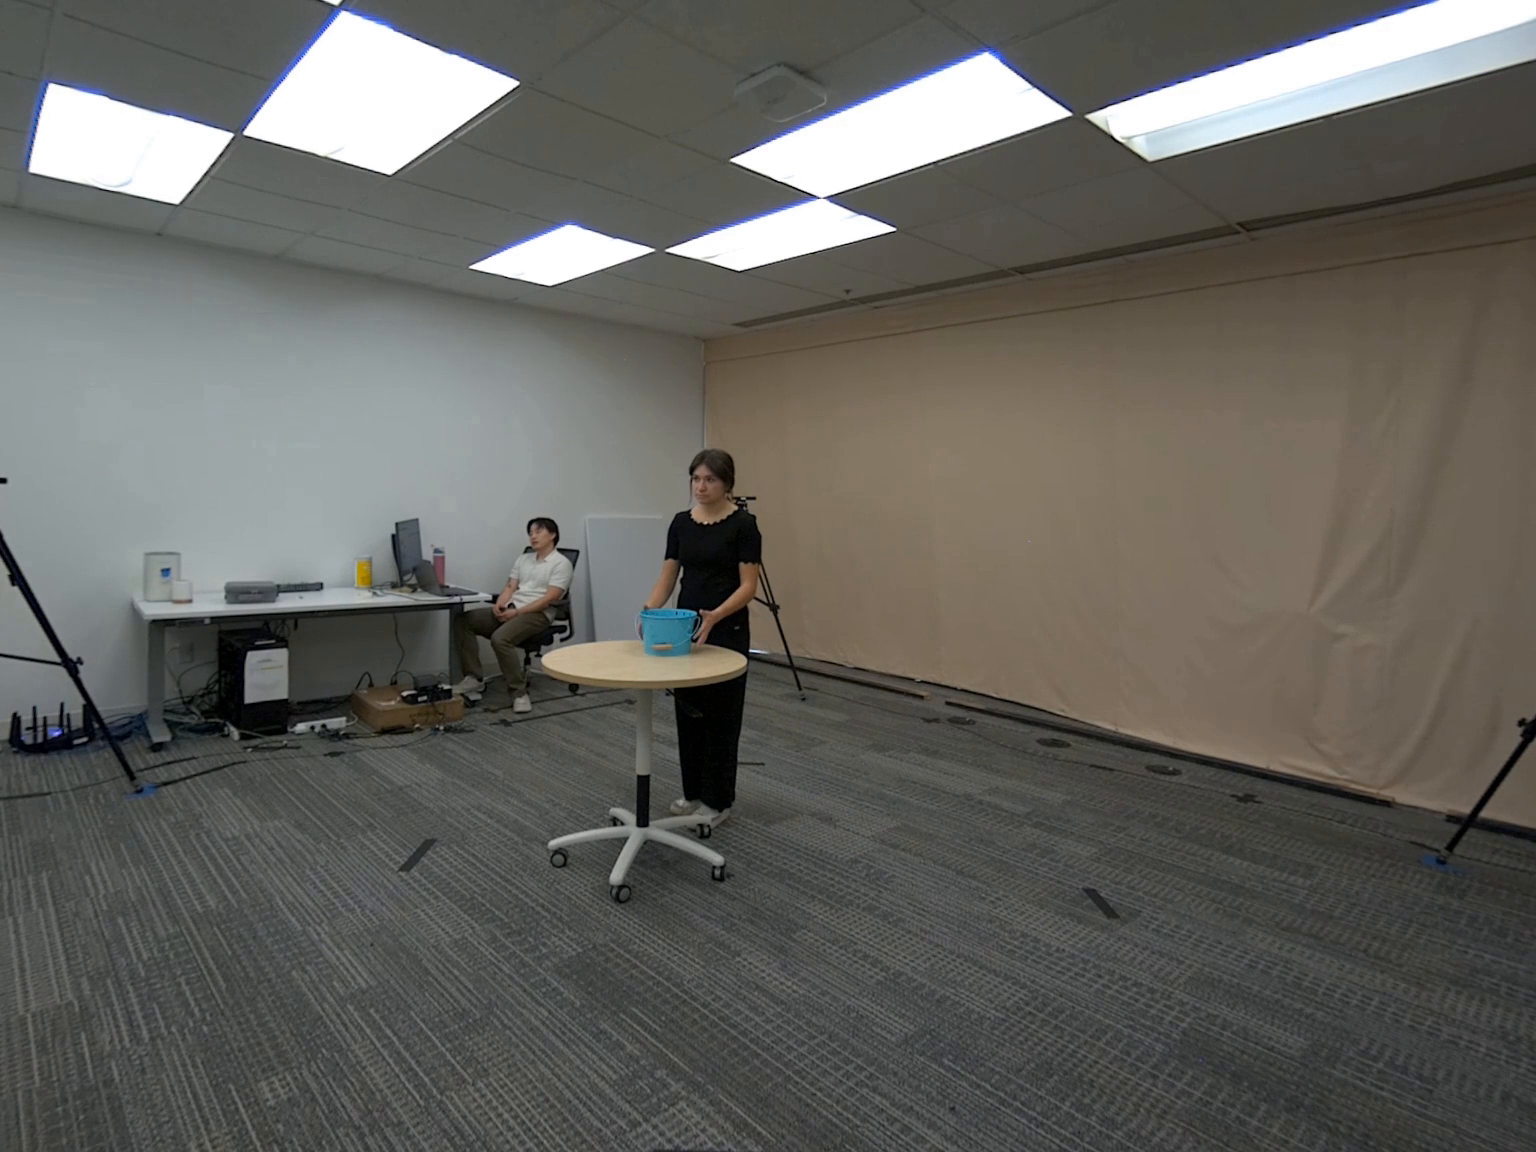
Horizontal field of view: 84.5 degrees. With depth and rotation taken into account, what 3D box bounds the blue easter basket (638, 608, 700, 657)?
[{"bbox_3d":[-0.421,0.227,3.308,0.243,0.155,0.244,3,4,-2],"label":"blue easter basket"}]
